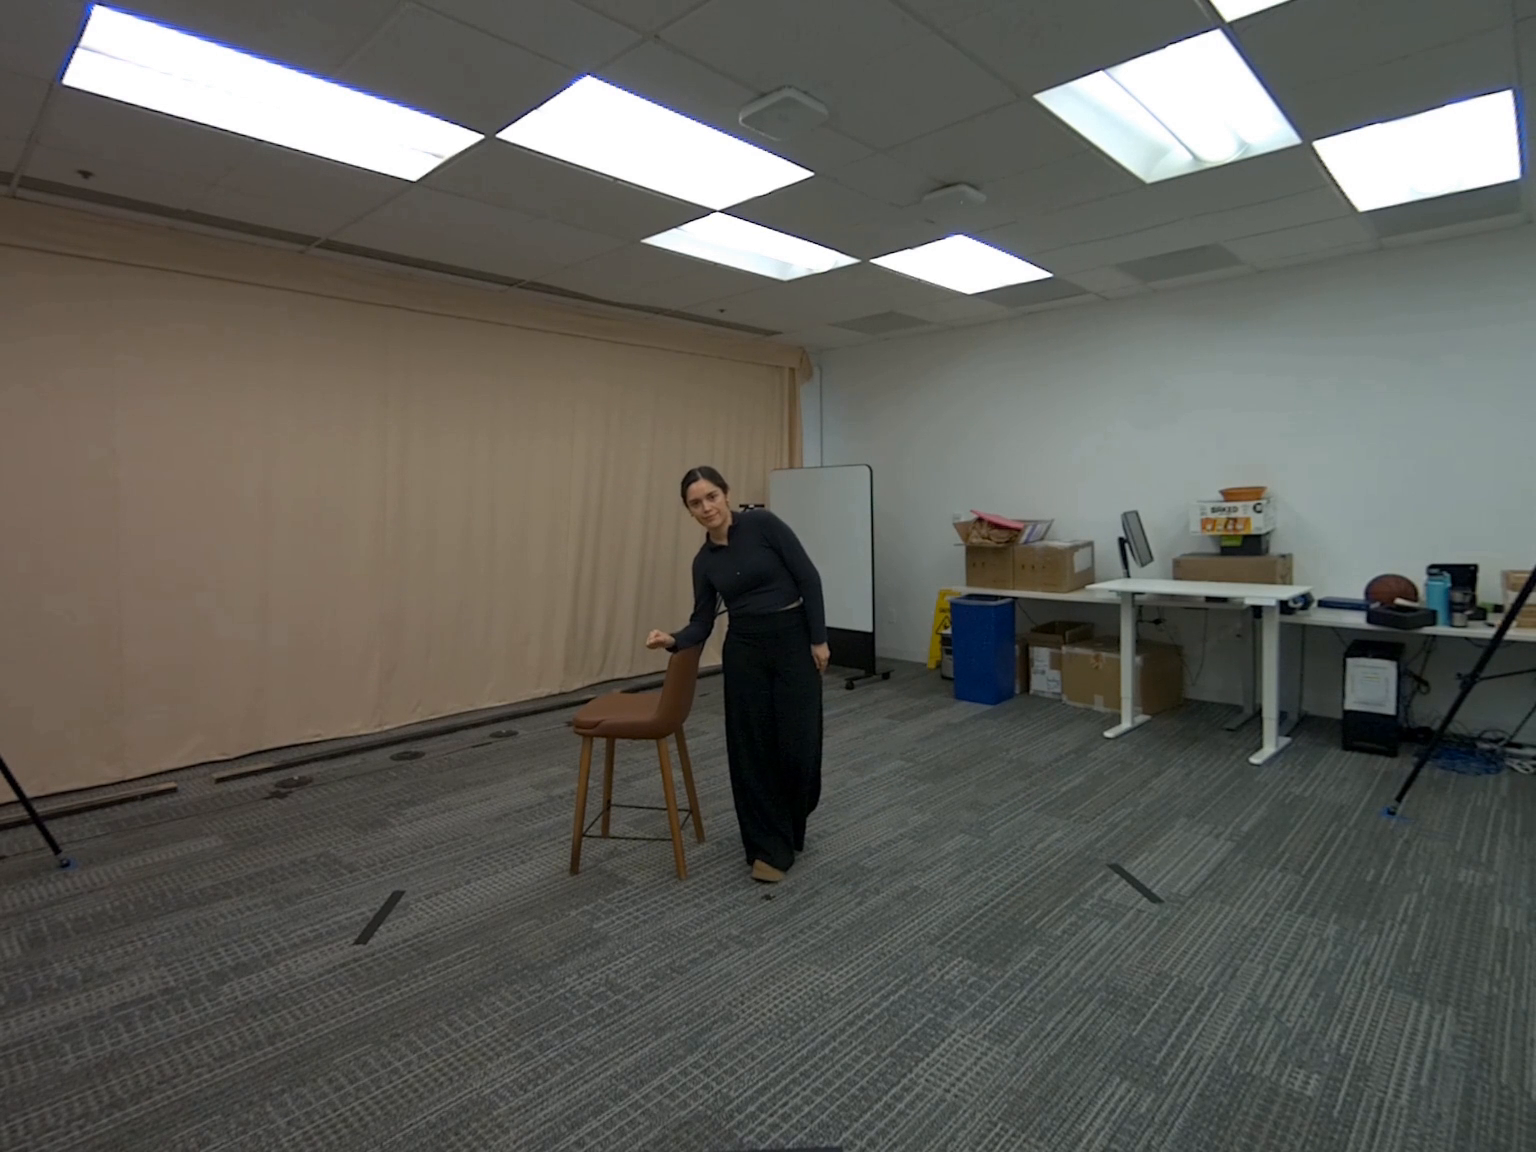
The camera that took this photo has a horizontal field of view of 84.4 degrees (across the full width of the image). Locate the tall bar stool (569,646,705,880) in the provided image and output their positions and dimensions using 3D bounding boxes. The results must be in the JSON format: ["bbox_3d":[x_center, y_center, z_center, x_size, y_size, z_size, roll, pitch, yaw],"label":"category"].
[{"bbox_3d":[-0.513,0.688,3.342,0.473,0.888,0.452,1,3,10],"label":"tall bar stool"}]
